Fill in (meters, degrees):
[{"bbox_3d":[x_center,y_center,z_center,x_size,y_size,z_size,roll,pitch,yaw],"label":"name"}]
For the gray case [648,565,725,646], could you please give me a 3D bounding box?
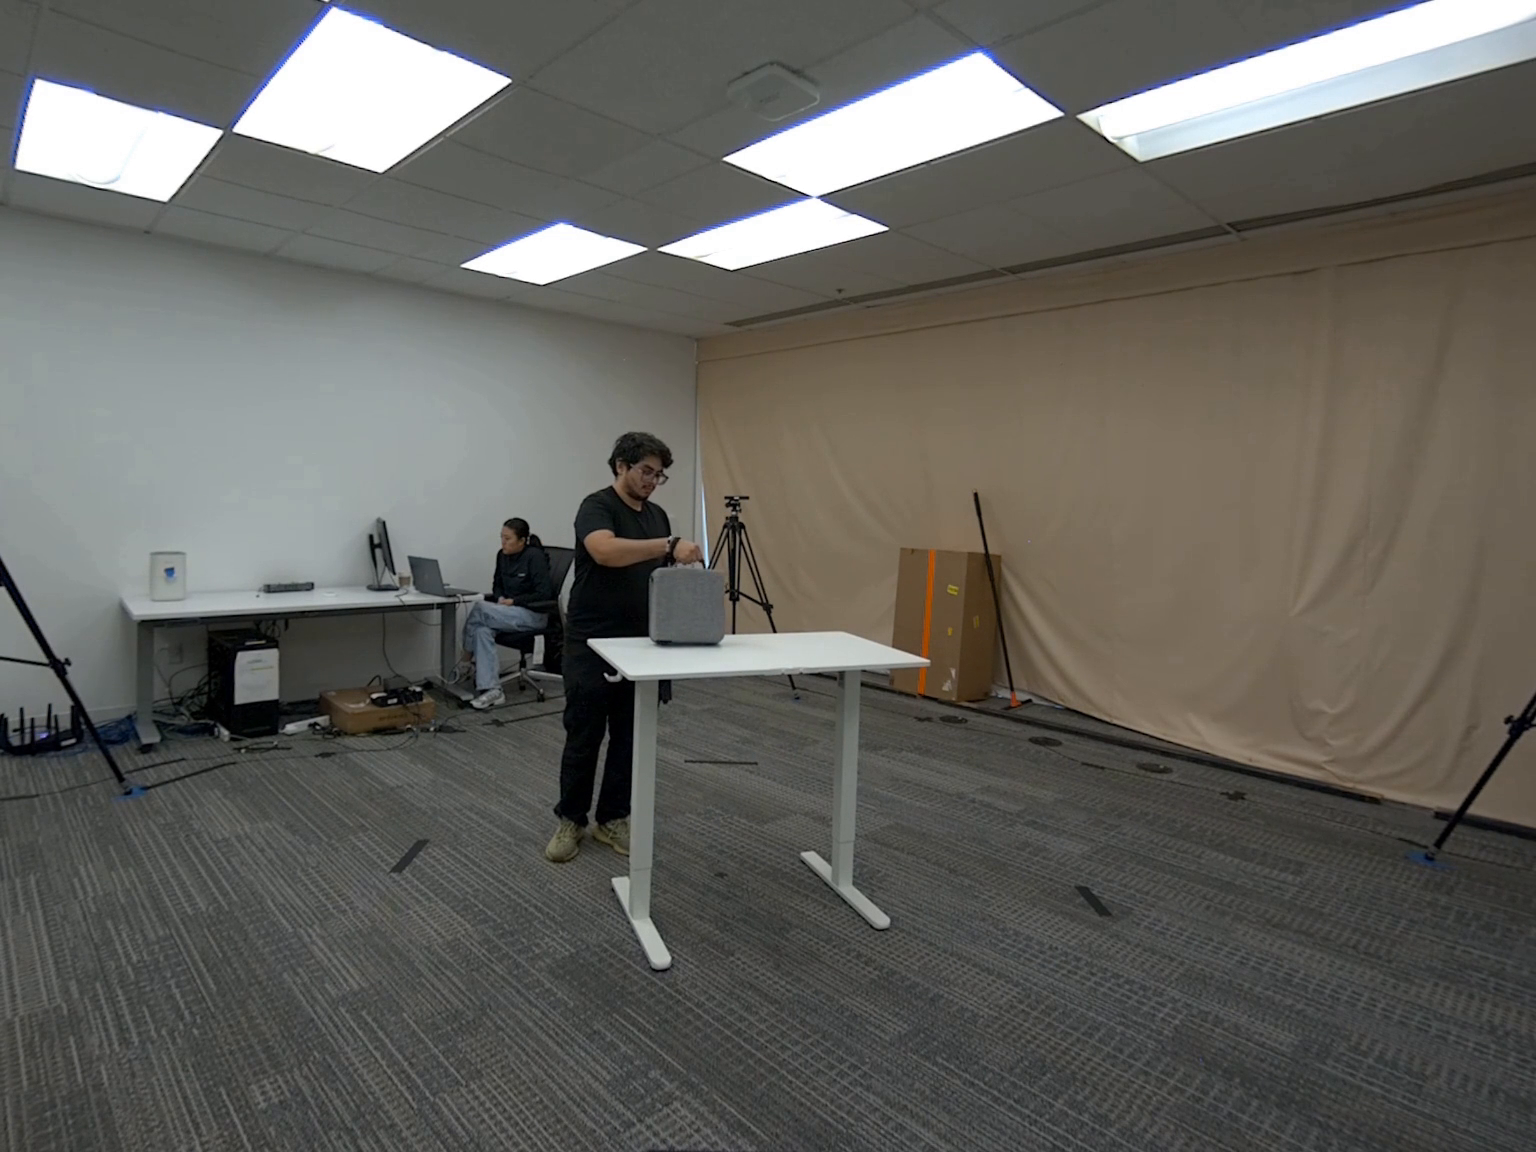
[{"bbox_3d":[-0.283,0.098,2.879,0.254,0.262,0.105,2,-9,-16],"label":"gray case"}]
